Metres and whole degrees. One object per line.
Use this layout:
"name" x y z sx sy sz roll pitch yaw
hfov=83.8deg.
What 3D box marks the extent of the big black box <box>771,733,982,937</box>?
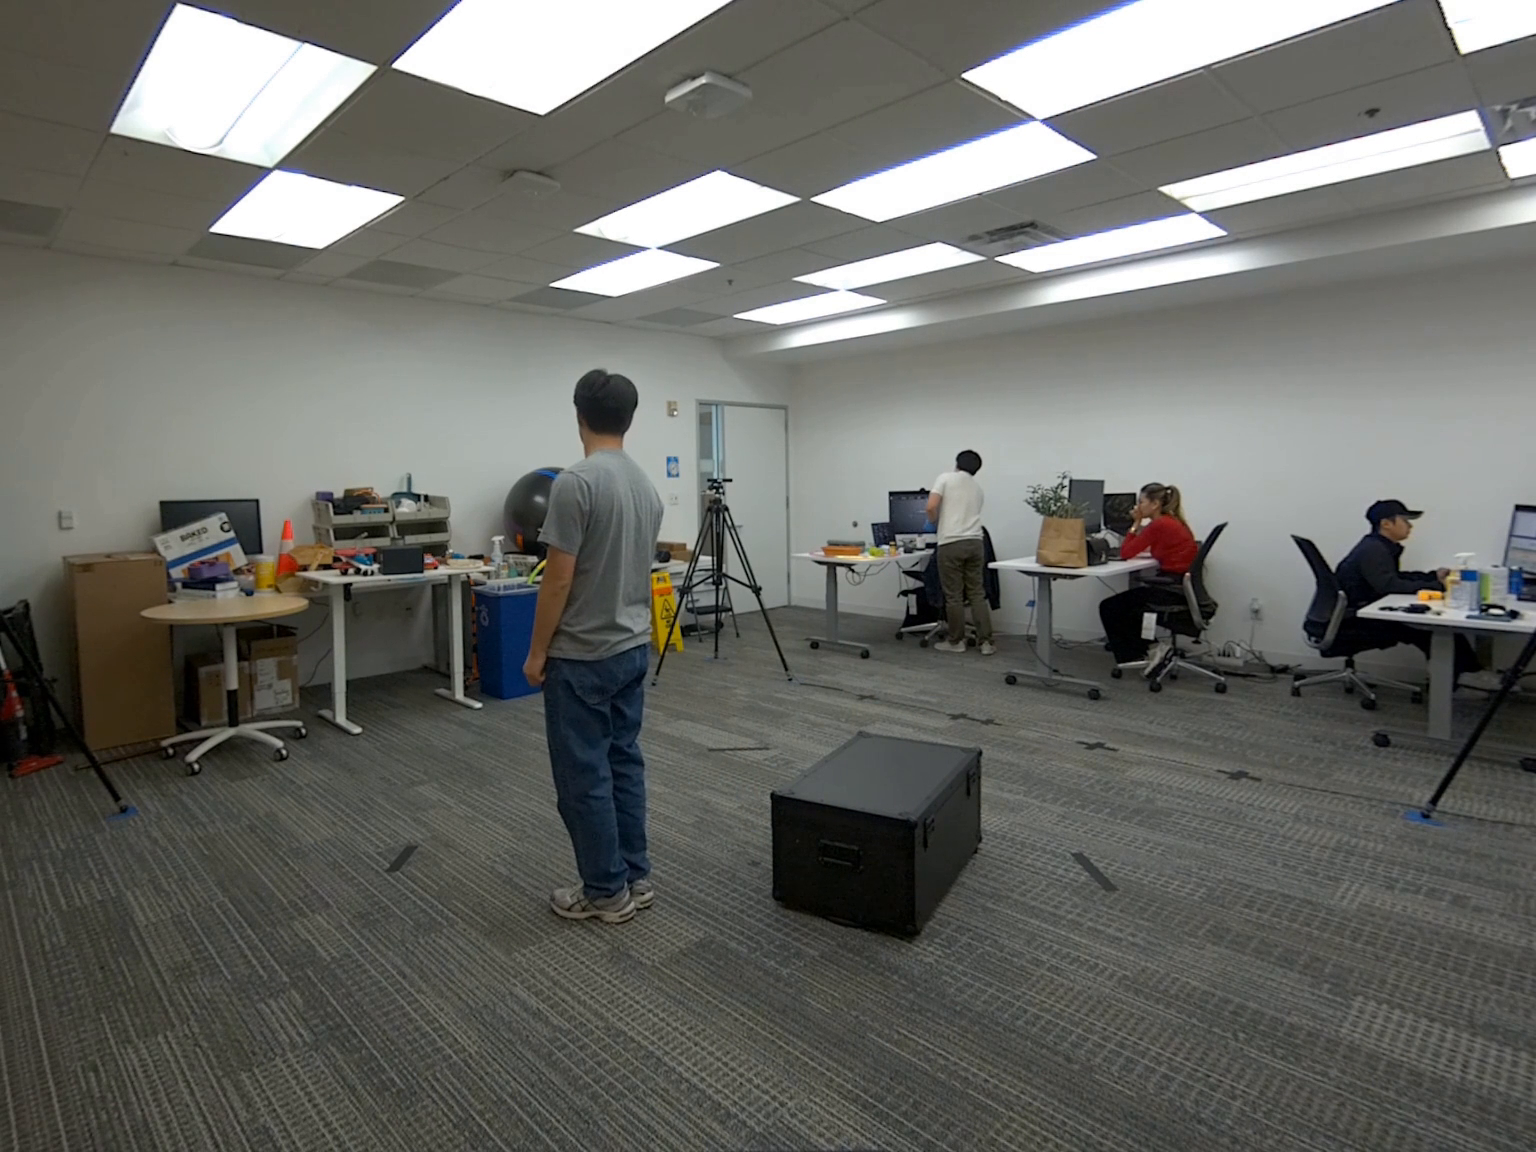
"big black box" 0.427 0.858 3.016 0.534 0.394 0.843 1 6 29
